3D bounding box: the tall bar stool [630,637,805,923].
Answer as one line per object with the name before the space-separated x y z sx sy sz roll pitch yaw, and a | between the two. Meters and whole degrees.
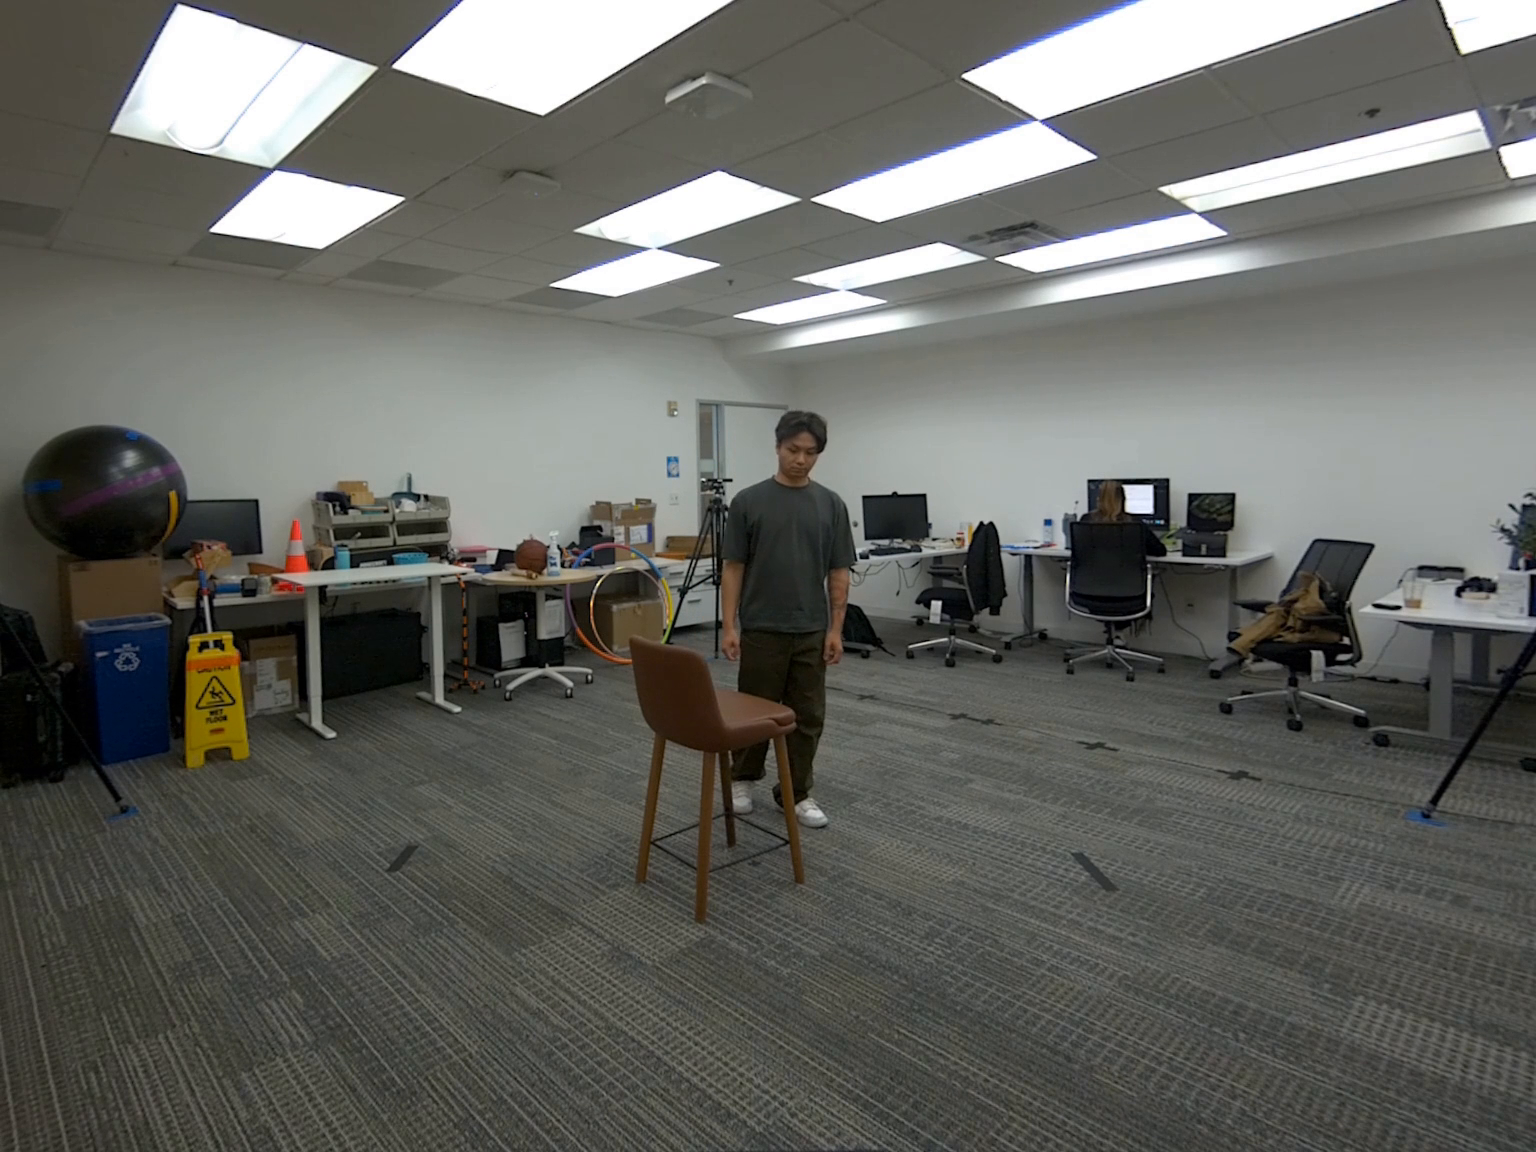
tall bar stool | -0.184 0.629 2.945 0.456 0.885 0.470 -7 7 -40
